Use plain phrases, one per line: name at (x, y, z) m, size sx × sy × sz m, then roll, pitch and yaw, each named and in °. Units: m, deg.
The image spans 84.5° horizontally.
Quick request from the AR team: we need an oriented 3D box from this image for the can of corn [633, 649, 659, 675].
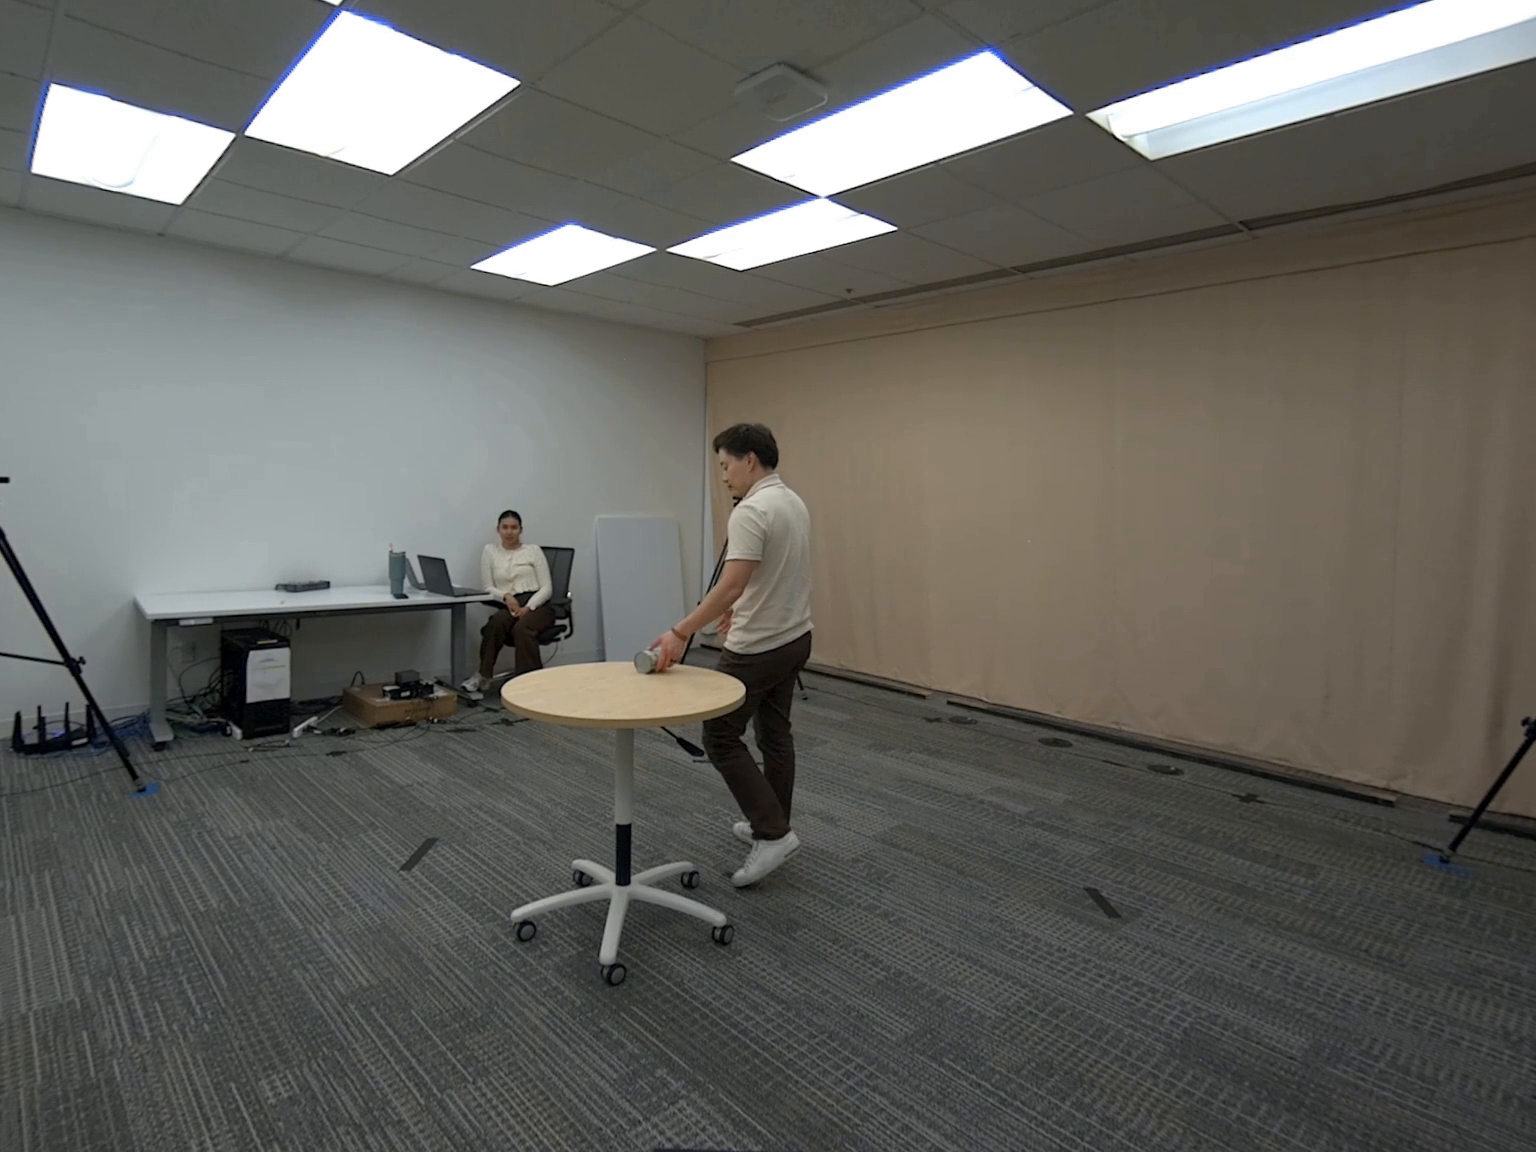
can of corn at (-0.406, 0.292, 2.908) m, size 0.076 × 0.074 × 0.109 m, roll 4°, pitch 6°, yaw 31°
